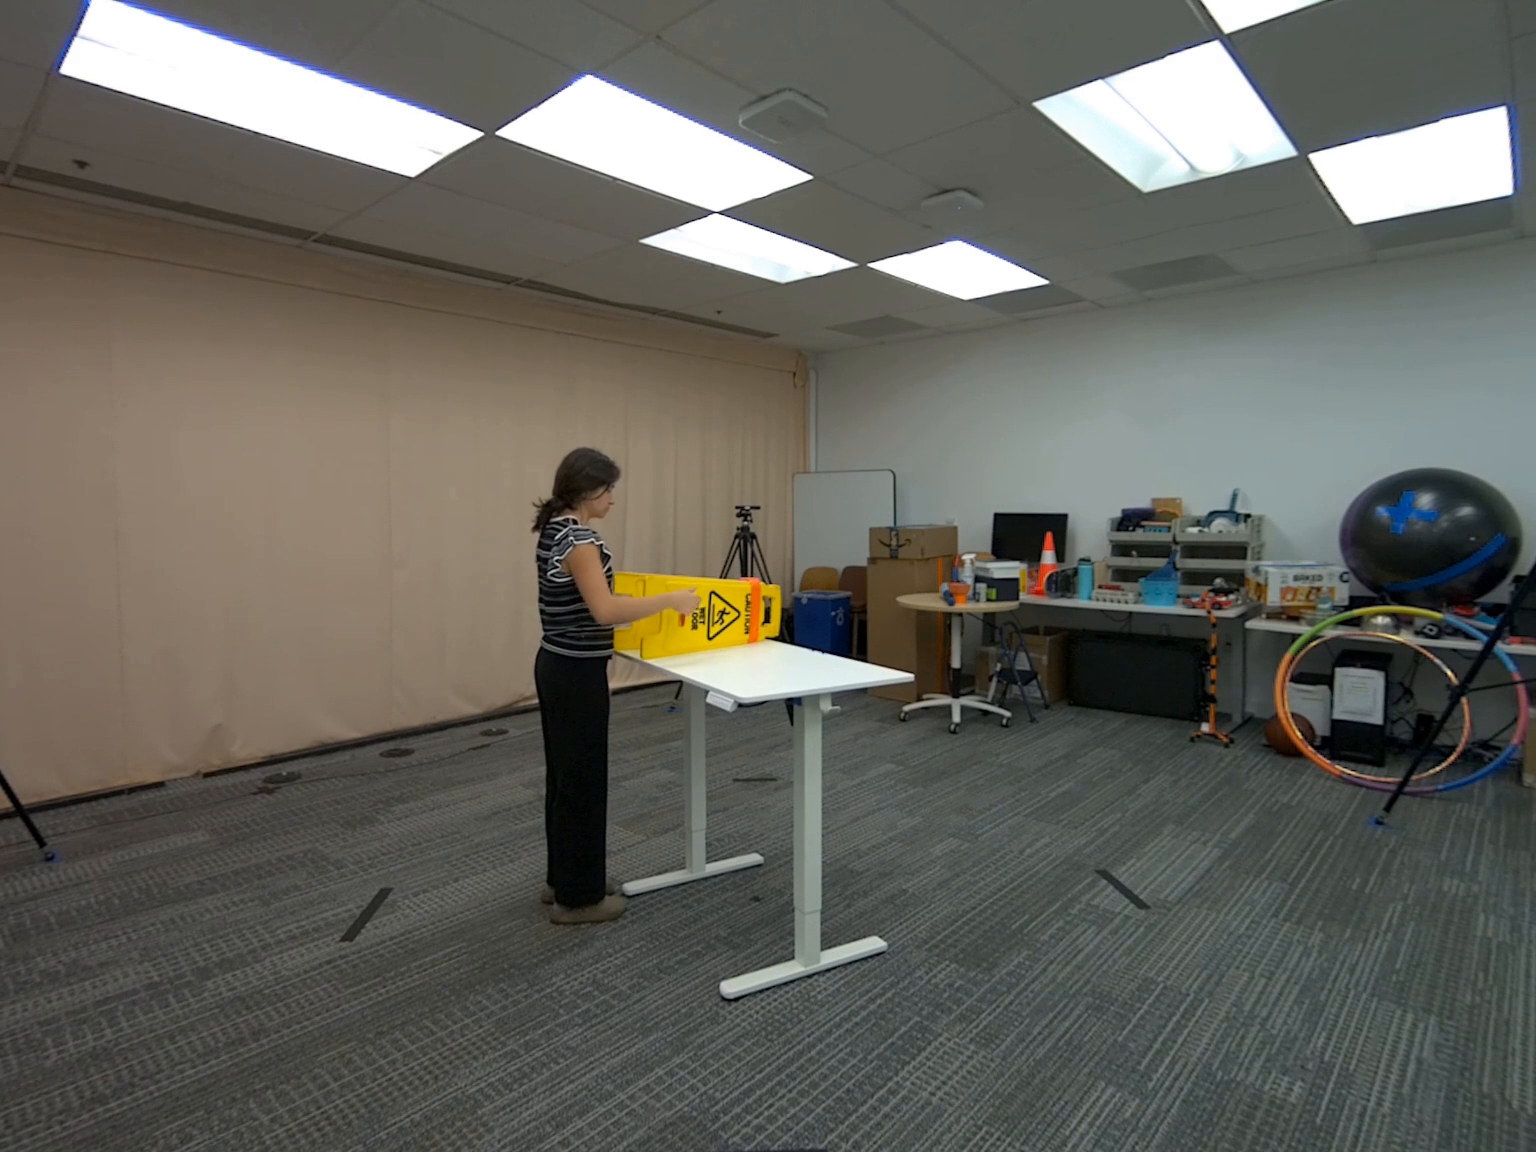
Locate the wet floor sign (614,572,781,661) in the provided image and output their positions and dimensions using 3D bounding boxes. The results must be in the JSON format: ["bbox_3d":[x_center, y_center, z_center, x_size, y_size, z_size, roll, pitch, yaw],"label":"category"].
[{"bbox_3d":[-0.216,0.136,3.074,0.627,0.282,0.299,0,2,-34],"label":"wet floor sign"}]
